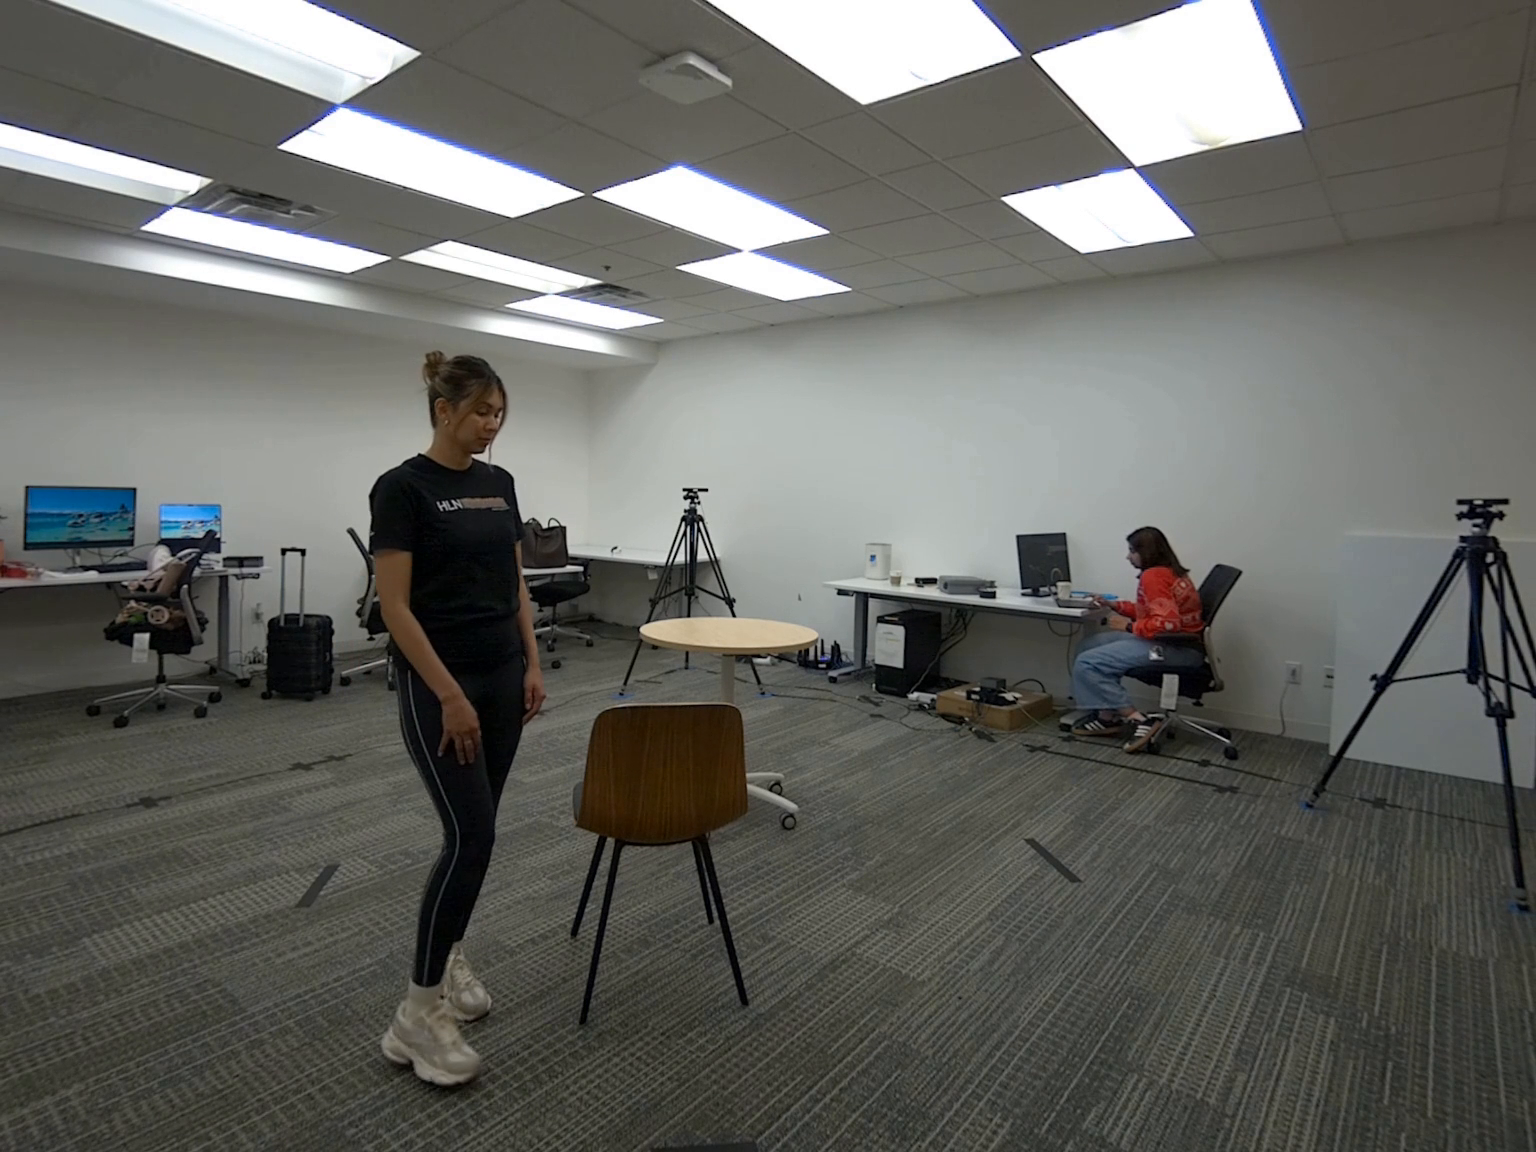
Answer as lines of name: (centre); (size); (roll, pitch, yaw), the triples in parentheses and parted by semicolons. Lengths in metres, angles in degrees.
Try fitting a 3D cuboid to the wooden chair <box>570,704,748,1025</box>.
wooden chair: (-0.335, 0.707, 2.439); (0.471, 0.871, 0.534); (0, 8, -14)
